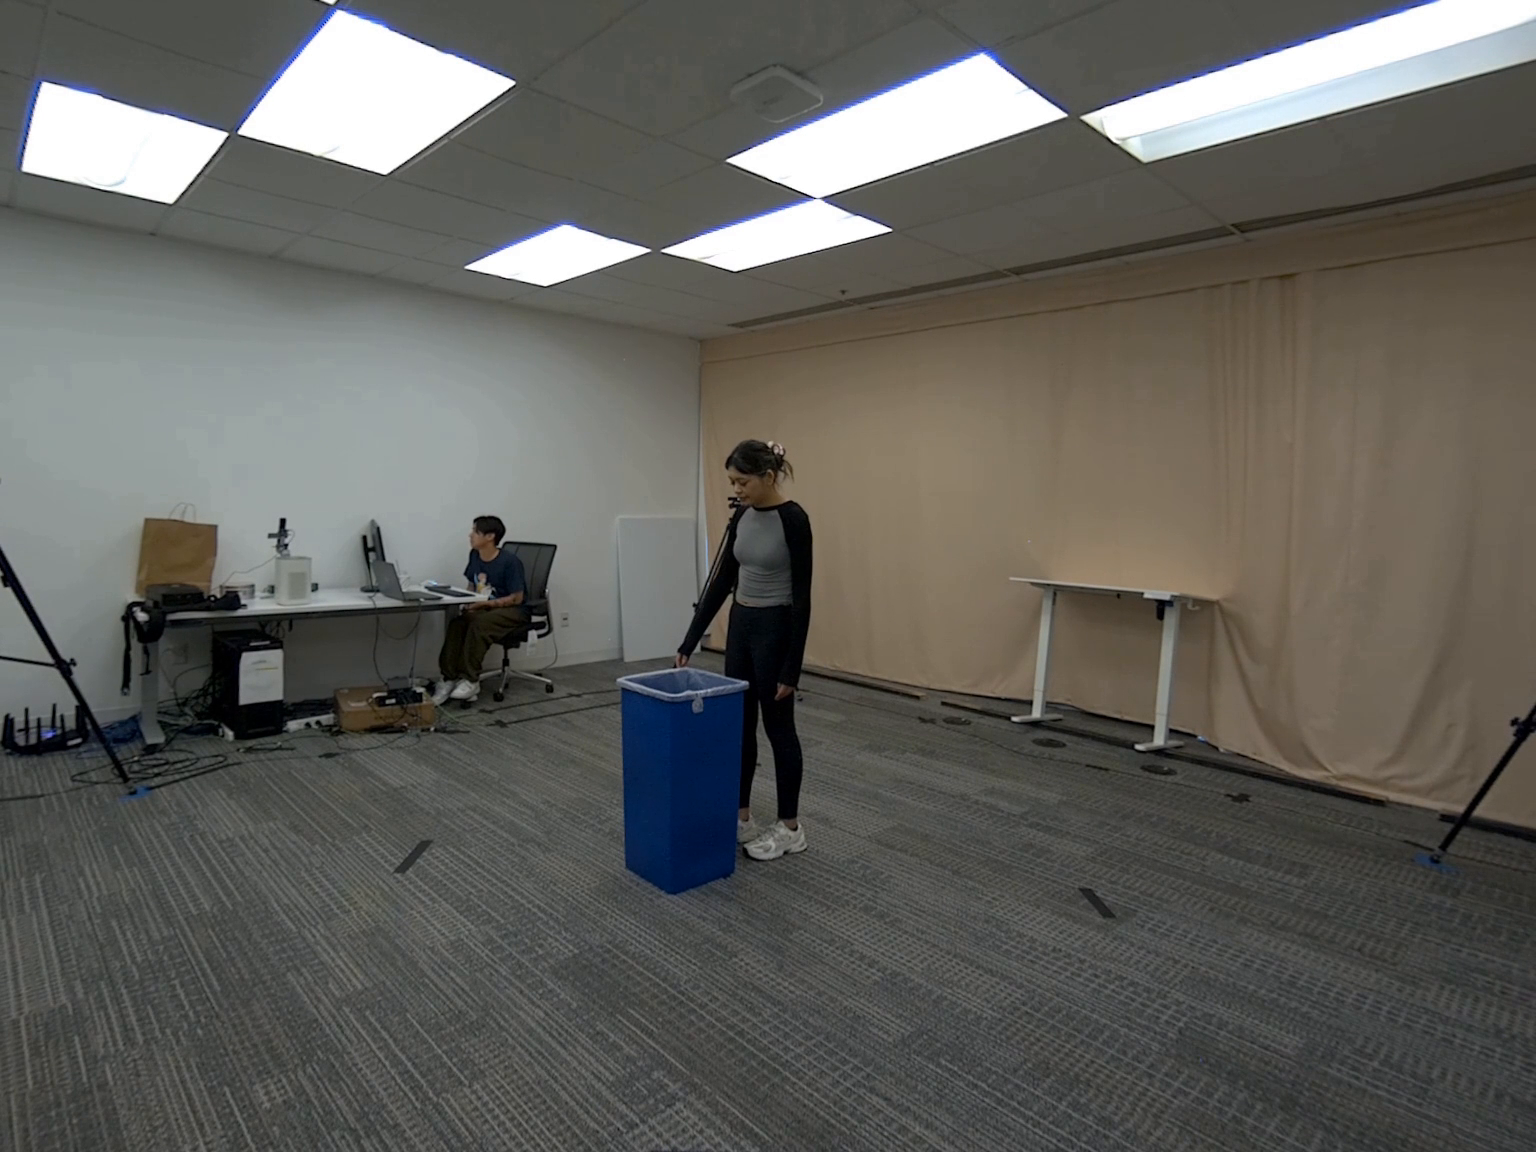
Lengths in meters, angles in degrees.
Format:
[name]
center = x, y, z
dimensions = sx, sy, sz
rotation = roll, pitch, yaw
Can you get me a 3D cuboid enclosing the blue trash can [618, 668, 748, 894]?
[blue trash can]
center = -0.336, 0.741, 3.133
dimensions = 0.369, 0.712, 0.383
rotation = -1, 4, -43
